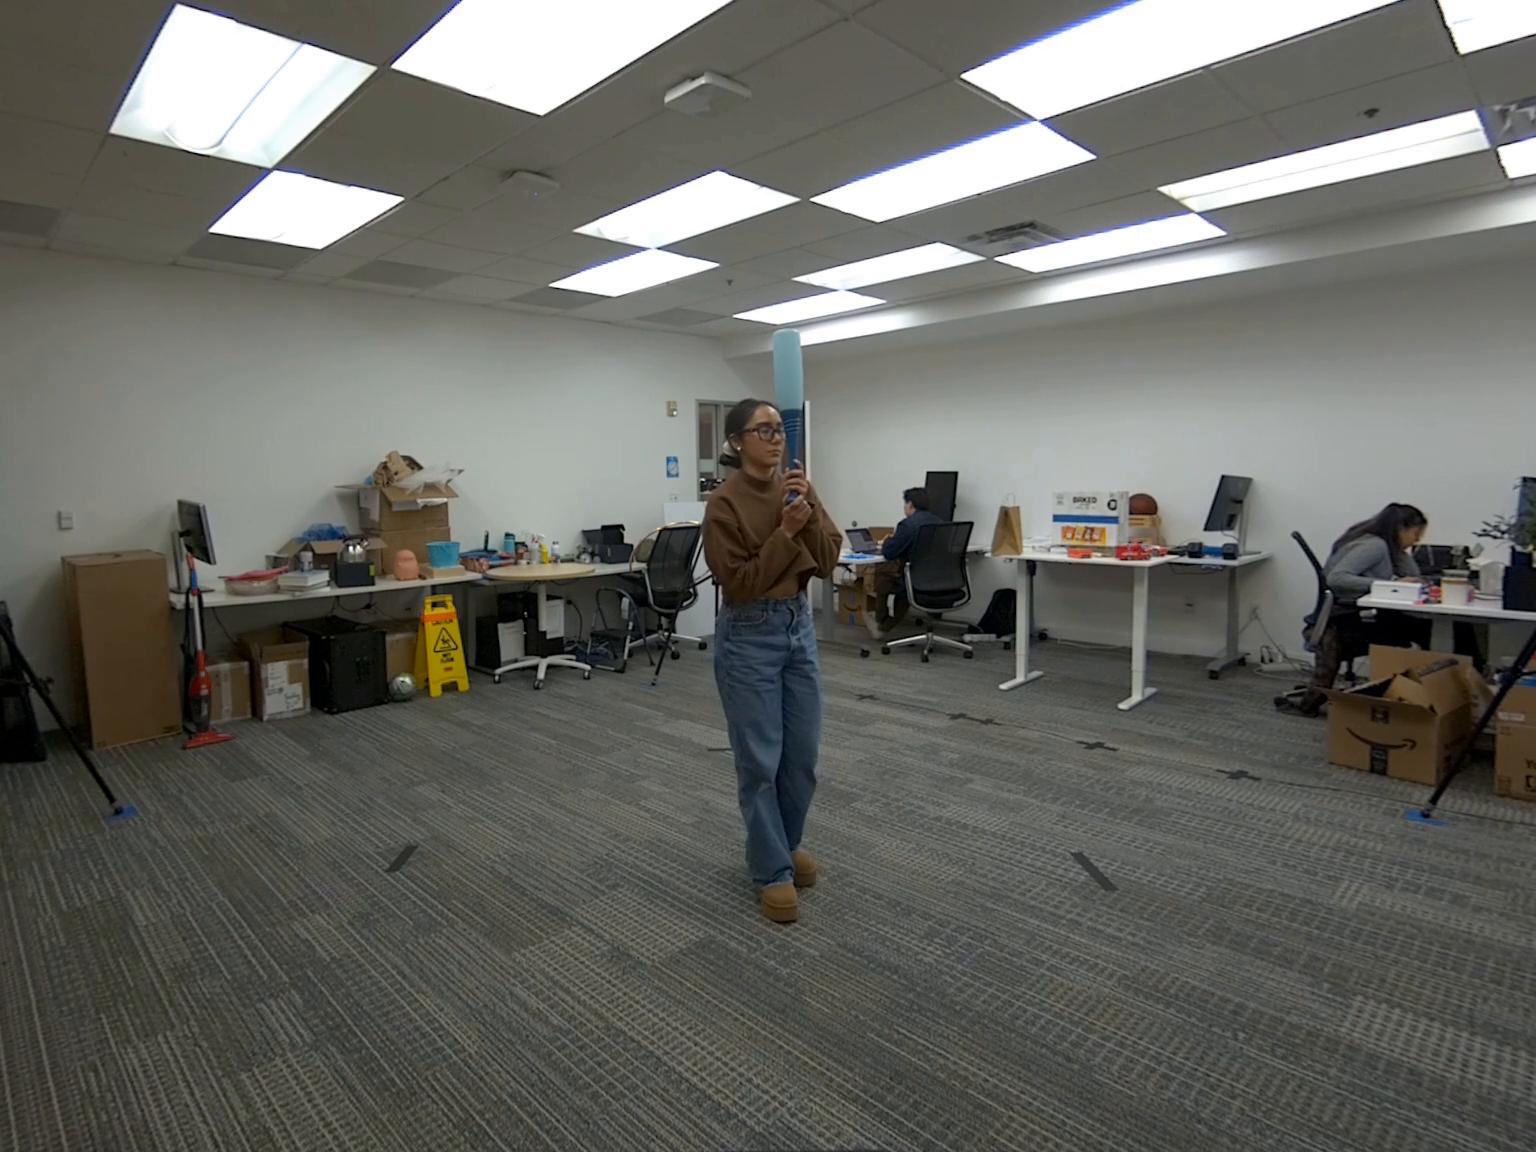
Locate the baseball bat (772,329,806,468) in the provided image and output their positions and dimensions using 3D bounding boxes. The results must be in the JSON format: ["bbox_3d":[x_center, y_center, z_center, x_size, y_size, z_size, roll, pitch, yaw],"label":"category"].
[{"bbox_3d":[0.077,-0.492,2.632,0.089,0.543,0.089,-3,-1,-2],"label":"baseball bat"}]
